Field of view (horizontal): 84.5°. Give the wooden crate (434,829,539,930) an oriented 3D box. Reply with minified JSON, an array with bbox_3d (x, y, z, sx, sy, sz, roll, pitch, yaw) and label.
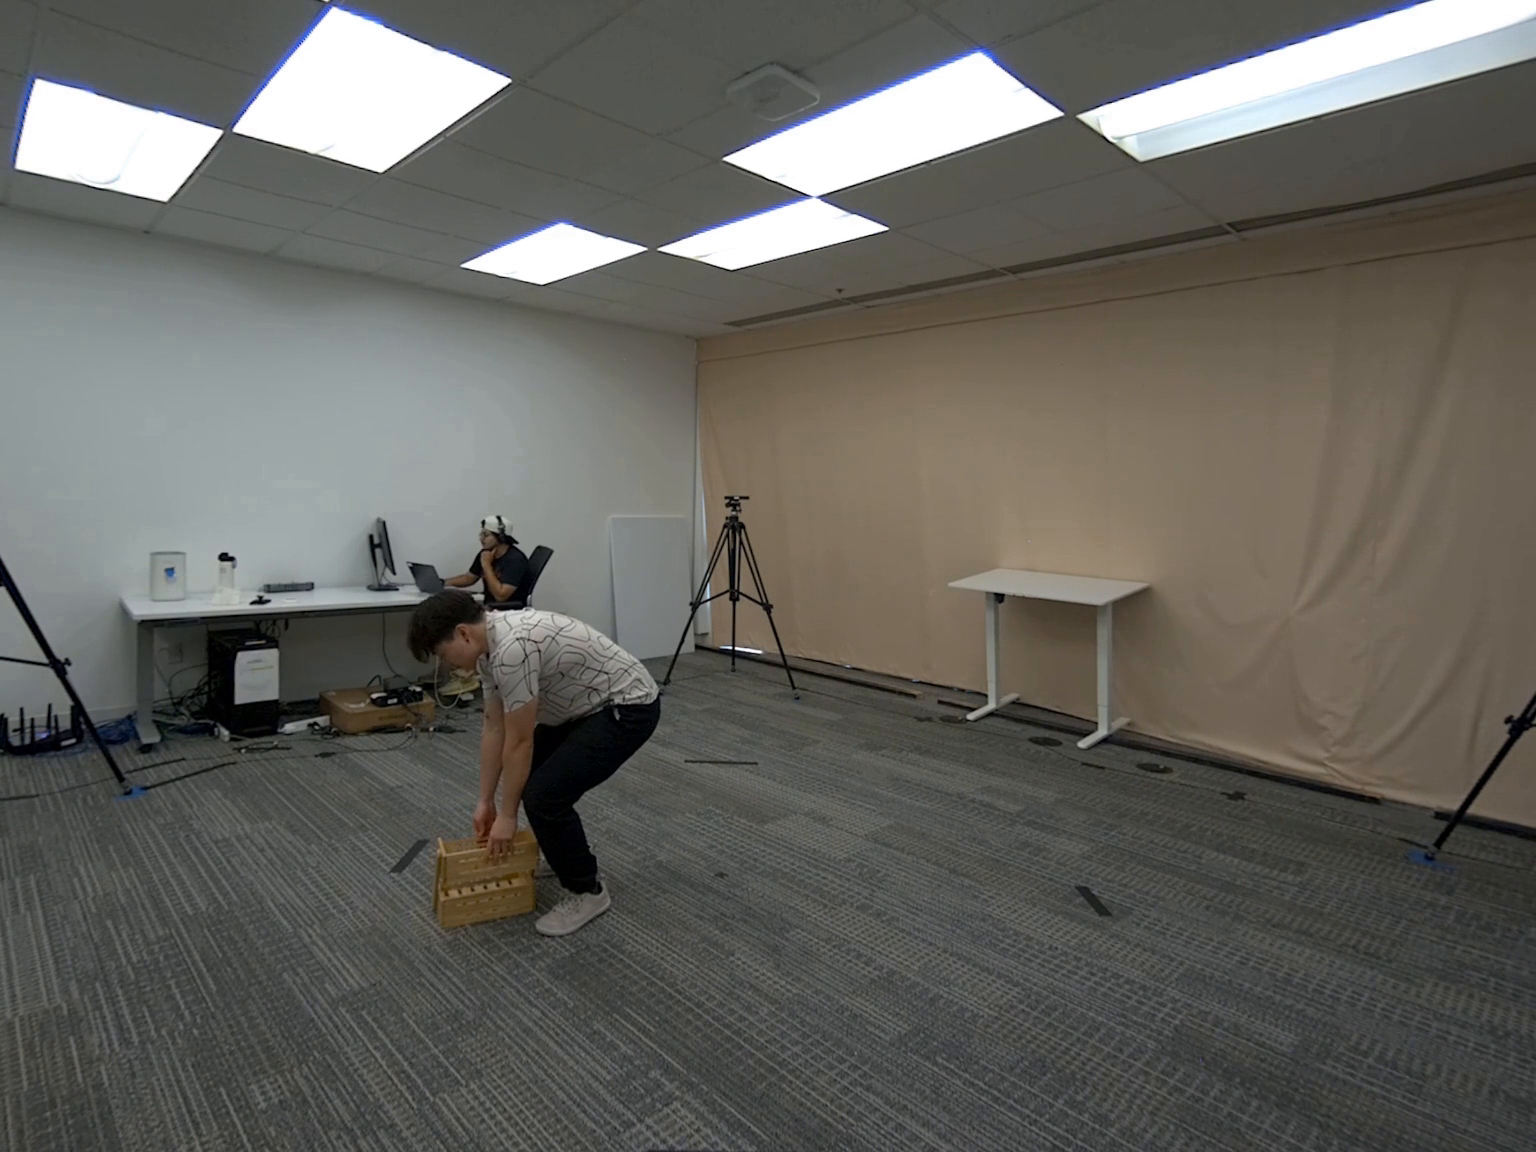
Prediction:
[{"bbox_3d":[-0.961,0.982,2.823,0.318,0.272,0.309,-2,6,-27],"label":"wooden crate"}]
